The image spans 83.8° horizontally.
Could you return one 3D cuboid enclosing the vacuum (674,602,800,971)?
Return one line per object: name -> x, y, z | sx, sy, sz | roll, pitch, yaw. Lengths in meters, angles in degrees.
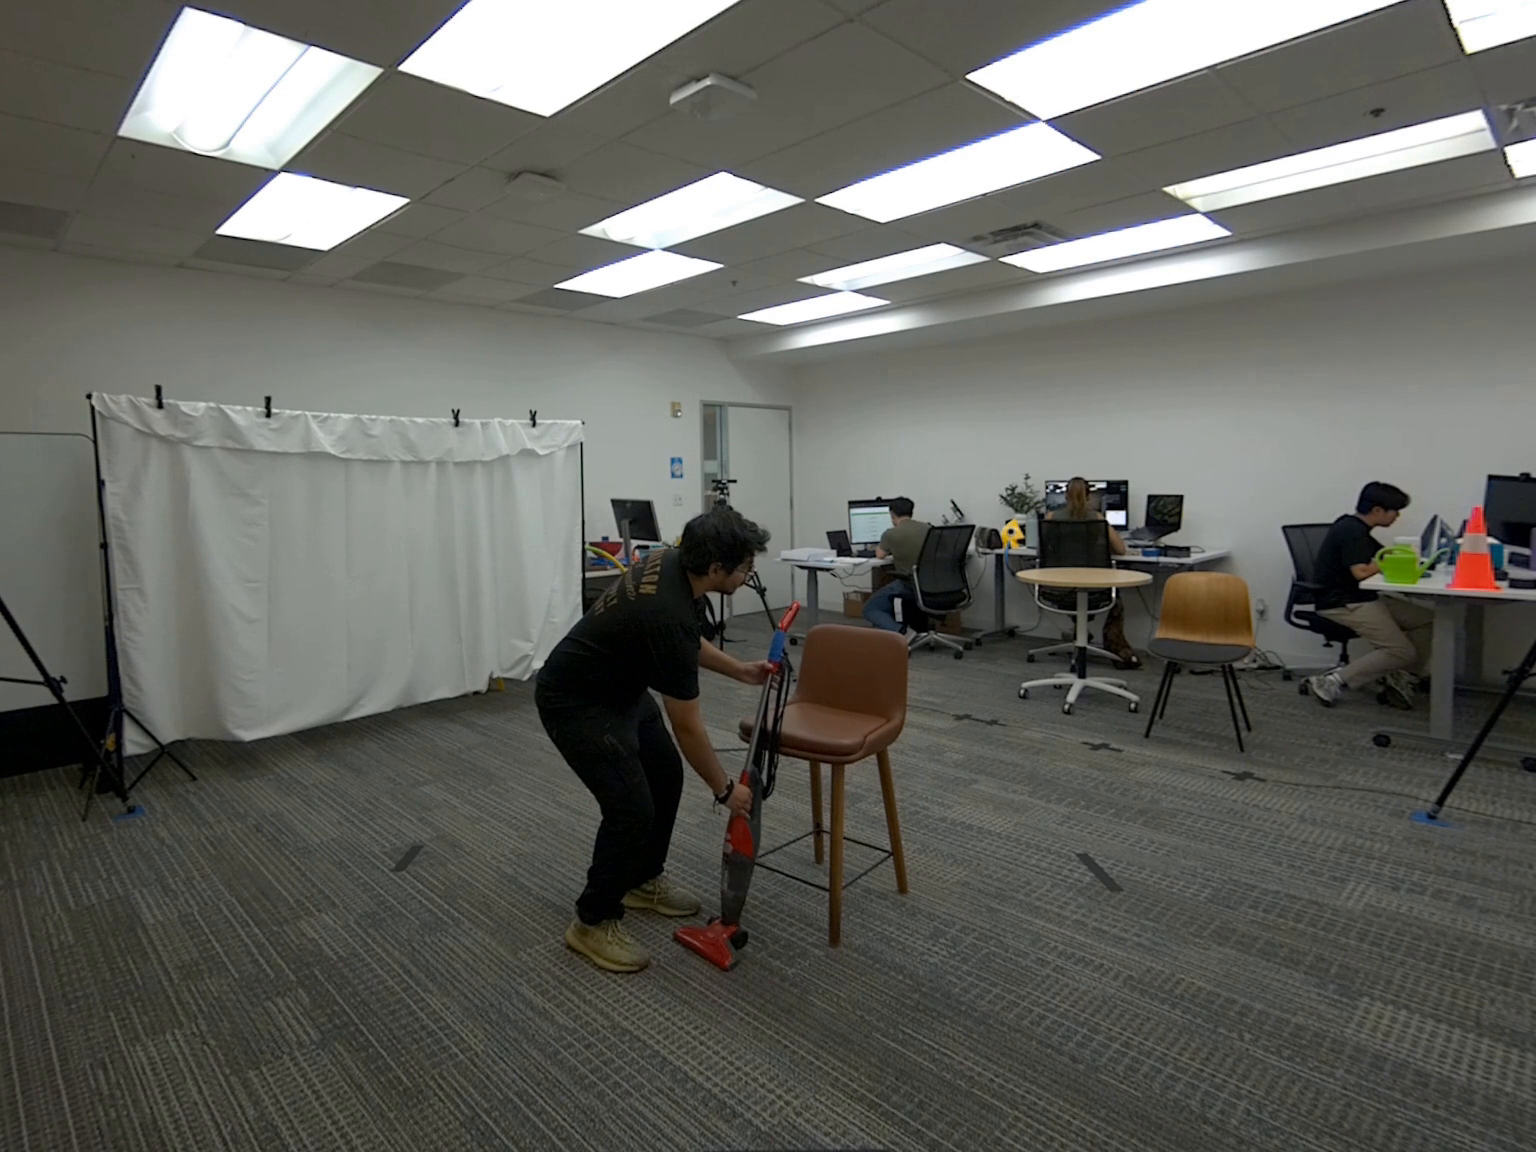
vacuum -> -0.029, 0.608, 2.621 | 0.139, 1.055, 0.259 | 19, -9, -31
